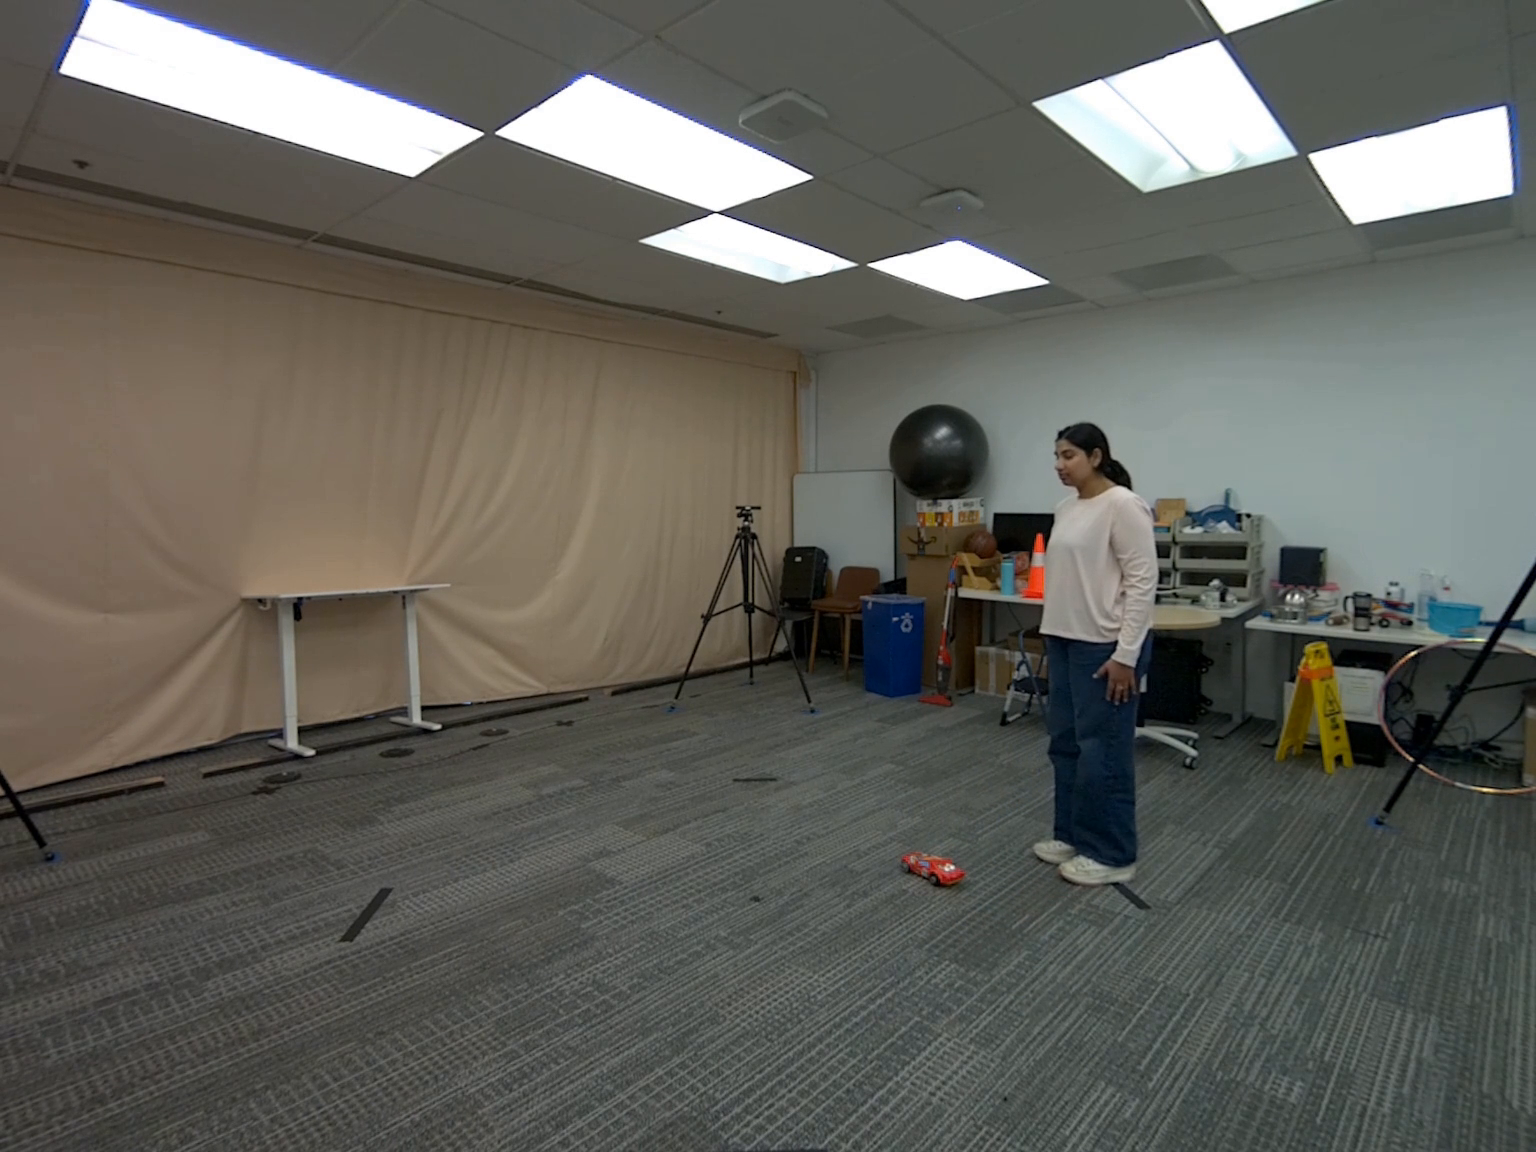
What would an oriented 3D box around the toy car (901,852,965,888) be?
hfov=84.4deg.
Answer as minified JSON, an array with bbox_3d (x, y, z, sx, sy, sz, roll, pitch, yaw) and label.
[{"bbox_3d":[0.627,1.102,3.153,0.126,0.083,0.261,-2,-7,-35],"label":"toy car"}]
